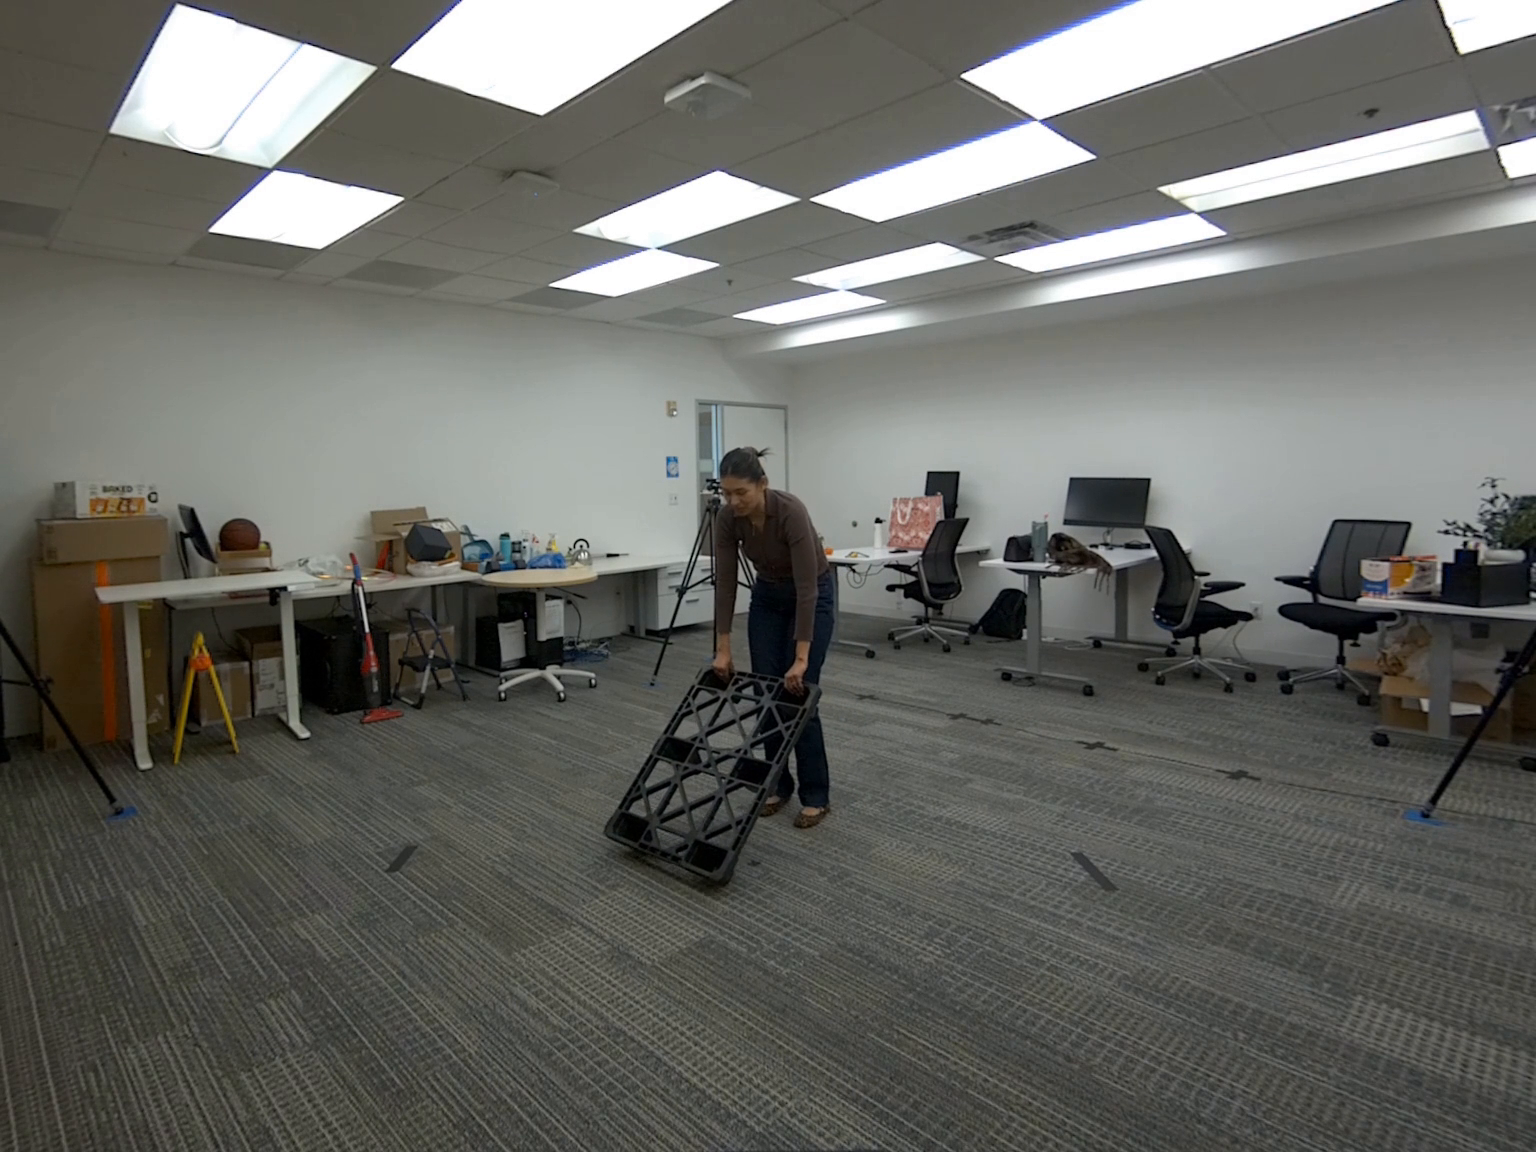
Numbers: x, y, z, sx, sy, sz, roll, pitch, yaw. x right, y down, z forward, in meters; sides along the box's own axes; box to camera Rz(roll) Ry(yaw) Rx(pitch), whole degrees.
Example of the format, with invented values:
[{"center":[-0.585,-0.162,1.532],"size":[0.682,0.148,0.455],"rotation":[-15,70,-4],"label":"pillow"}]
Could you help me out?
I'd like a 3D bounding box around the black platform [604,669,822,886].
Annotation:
[{"center":[-0.182,0.727,3.246],"size":[0.624,0.811,0.138],"rotation":[4,-39,39],"label":"black platform"}]
